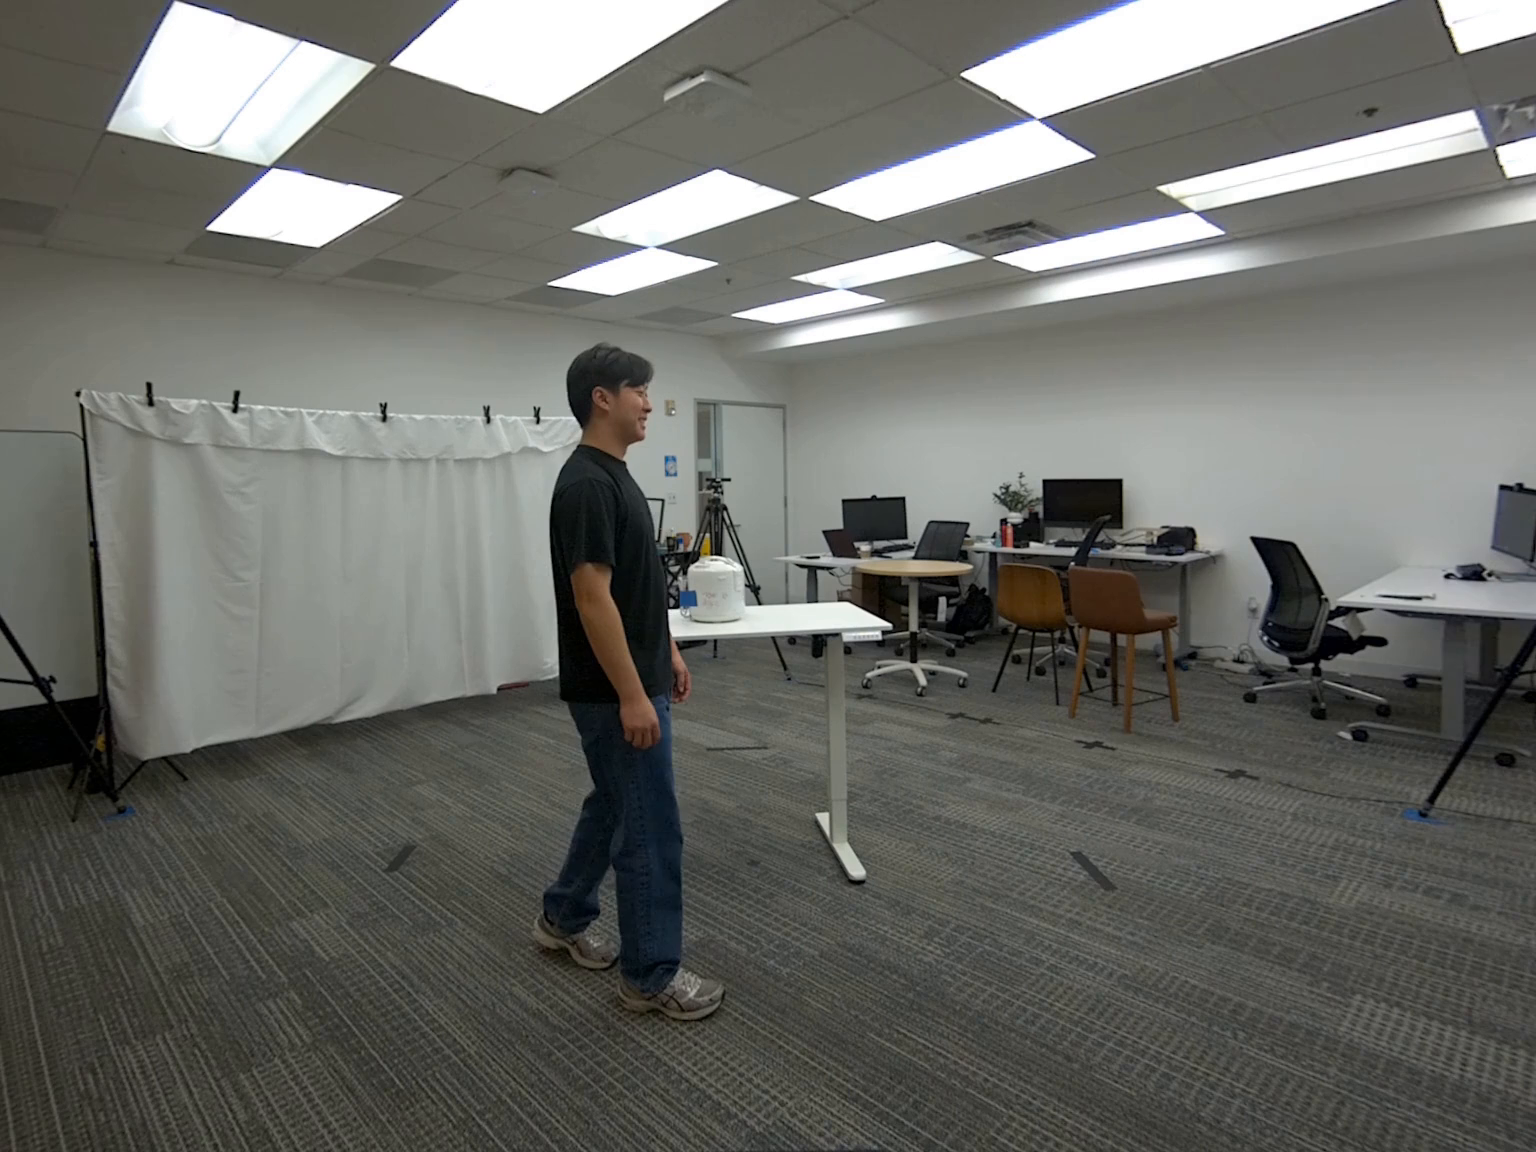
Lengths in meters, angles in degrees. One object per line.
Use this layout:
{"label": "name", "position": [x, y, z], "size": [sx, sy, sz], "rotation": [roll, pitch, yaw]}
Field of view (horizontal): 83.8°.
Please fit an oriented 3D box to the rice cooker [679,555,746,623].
{"label": "rice cooker", "position": [-0.188, 0.044, 3.124], "size": [0.227, 0.232, 0.212], "rotation": [2, 7, 36]}
